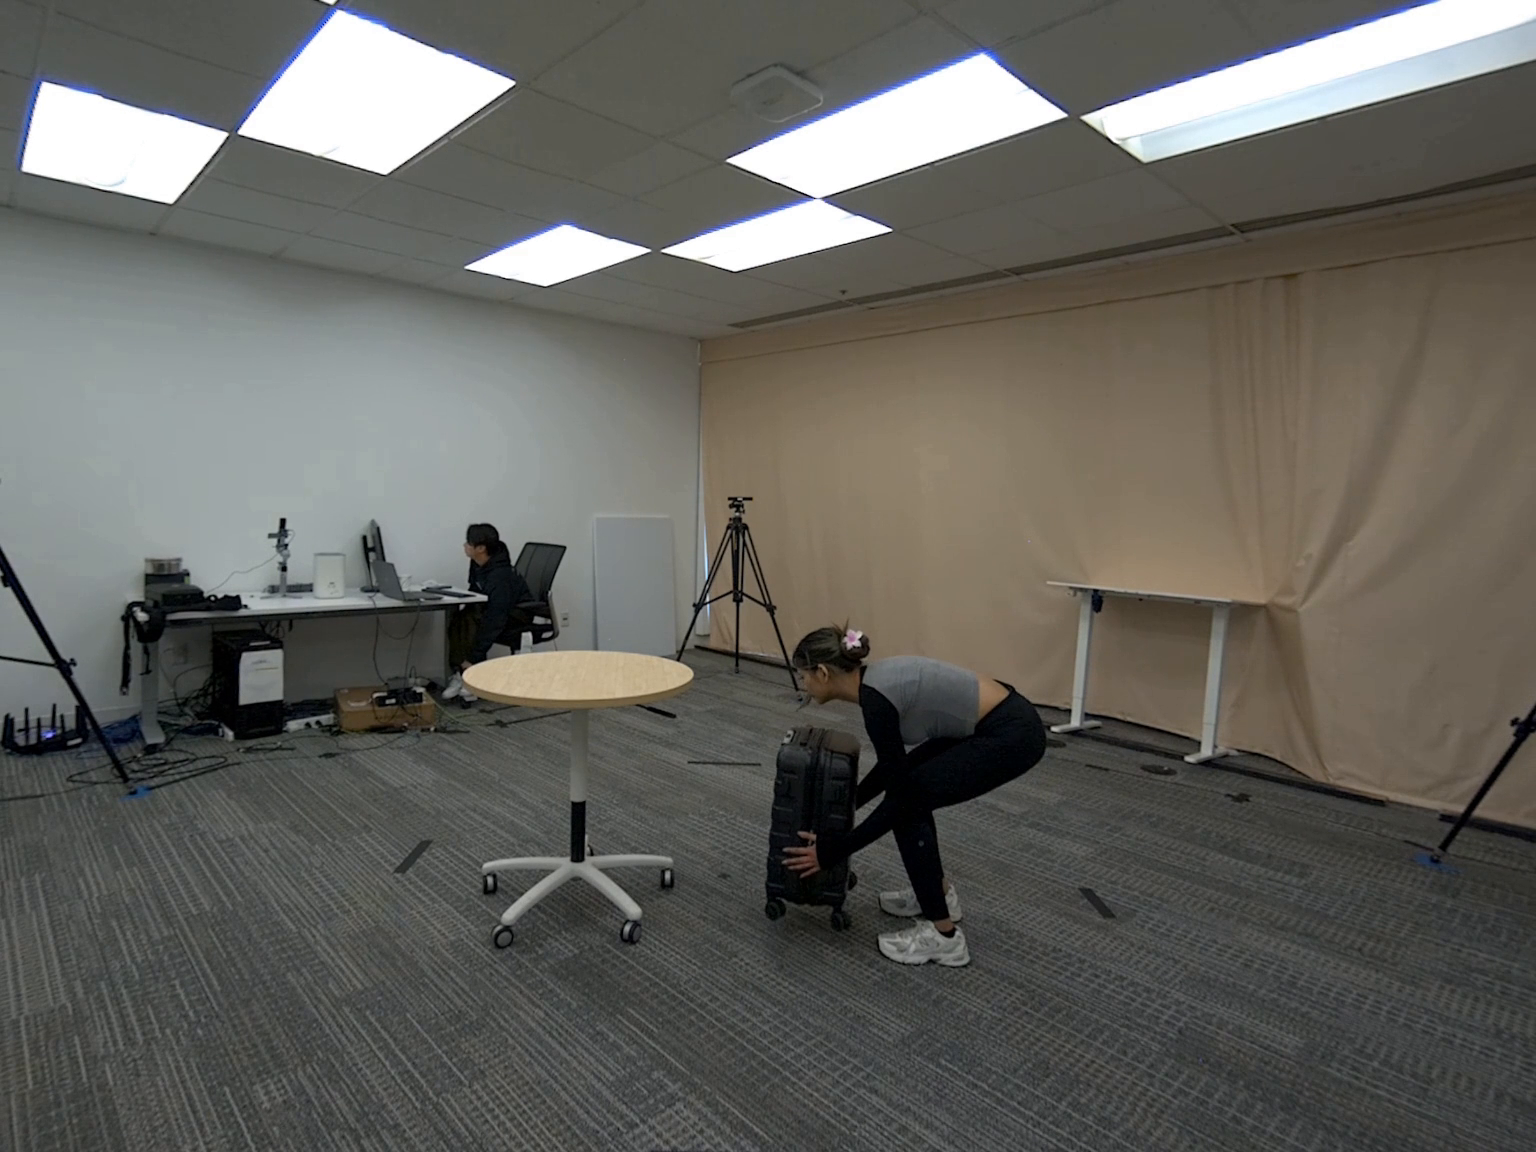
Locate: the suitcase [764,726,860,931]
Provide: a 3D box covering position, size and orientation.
[{"bbox_3d":[0.153,0.784,2.739,0.250,0.549,0.372,5,2,10],"label":"suitcase"}]
